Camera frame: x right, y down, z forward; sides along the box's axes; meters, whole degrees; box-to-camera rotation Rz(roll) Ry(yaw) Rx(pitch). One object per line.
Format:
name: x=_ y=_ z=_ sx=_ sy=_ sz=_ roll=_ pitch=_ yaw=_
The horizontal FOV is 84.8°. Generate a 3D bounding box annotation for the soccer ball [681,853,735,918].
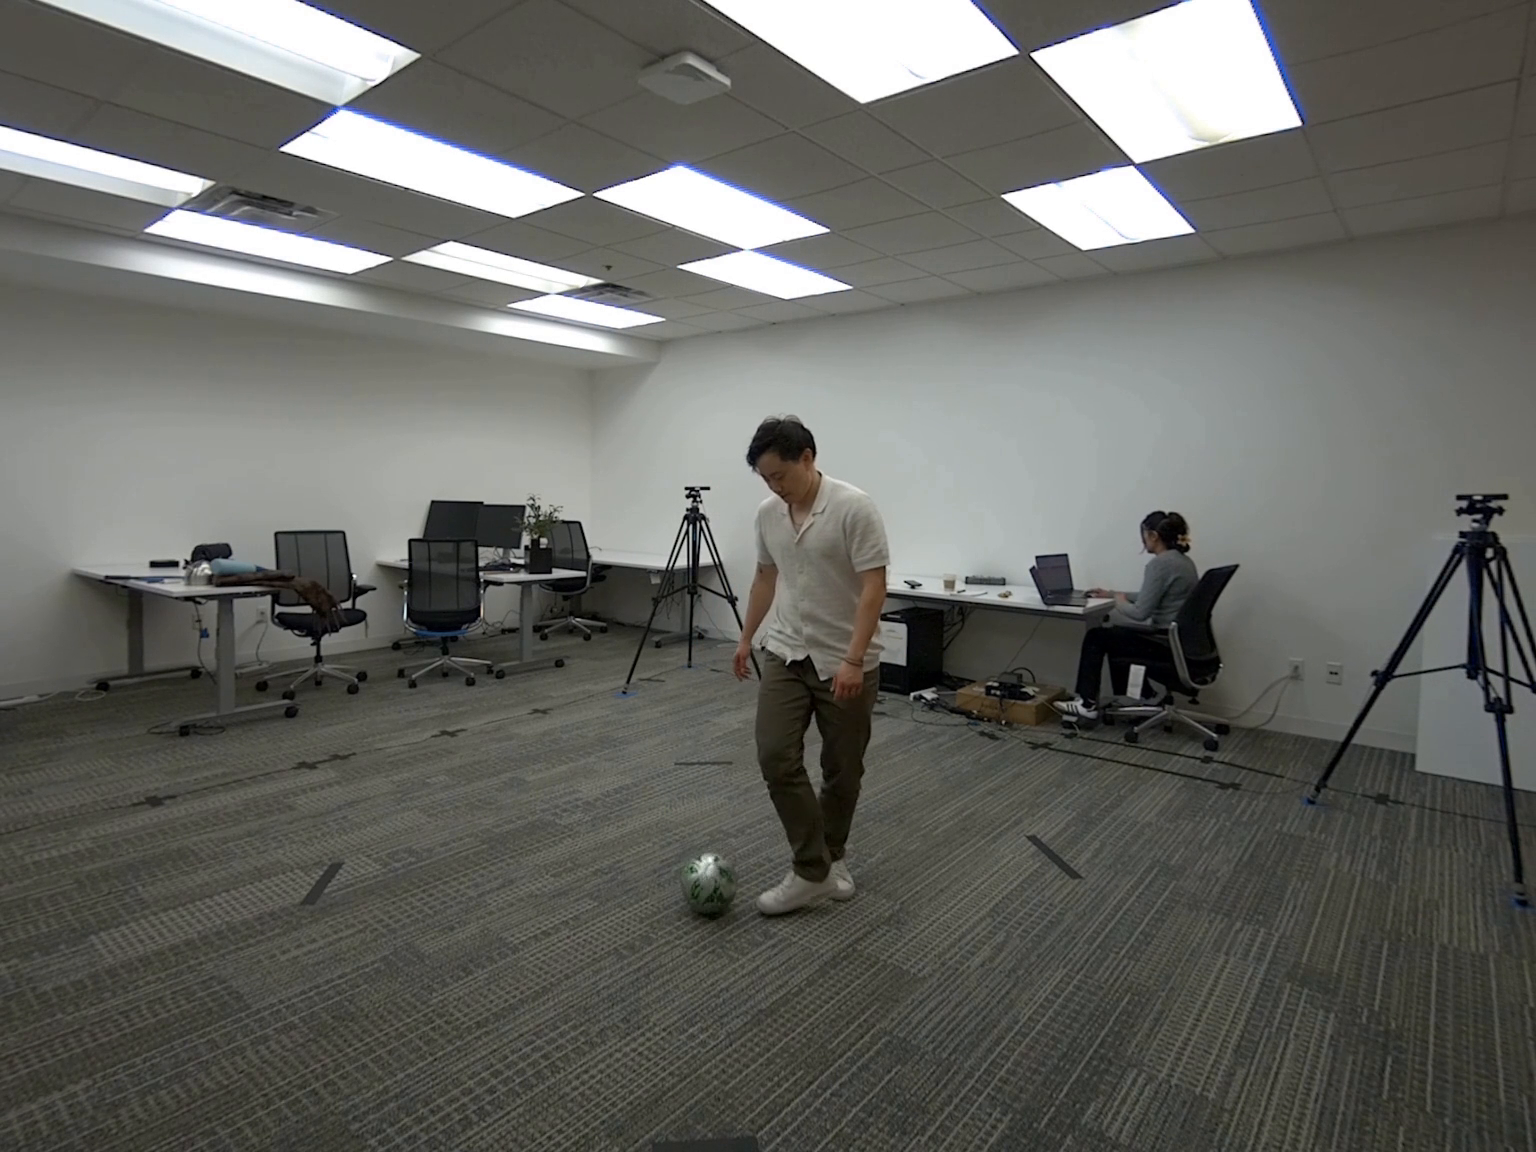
soccer ball: x=-0.200 y=1.002 z=2.787 sx=0.187 sy=0.187 sz=0.188 roll=0 pitch=4 yaw=-2
